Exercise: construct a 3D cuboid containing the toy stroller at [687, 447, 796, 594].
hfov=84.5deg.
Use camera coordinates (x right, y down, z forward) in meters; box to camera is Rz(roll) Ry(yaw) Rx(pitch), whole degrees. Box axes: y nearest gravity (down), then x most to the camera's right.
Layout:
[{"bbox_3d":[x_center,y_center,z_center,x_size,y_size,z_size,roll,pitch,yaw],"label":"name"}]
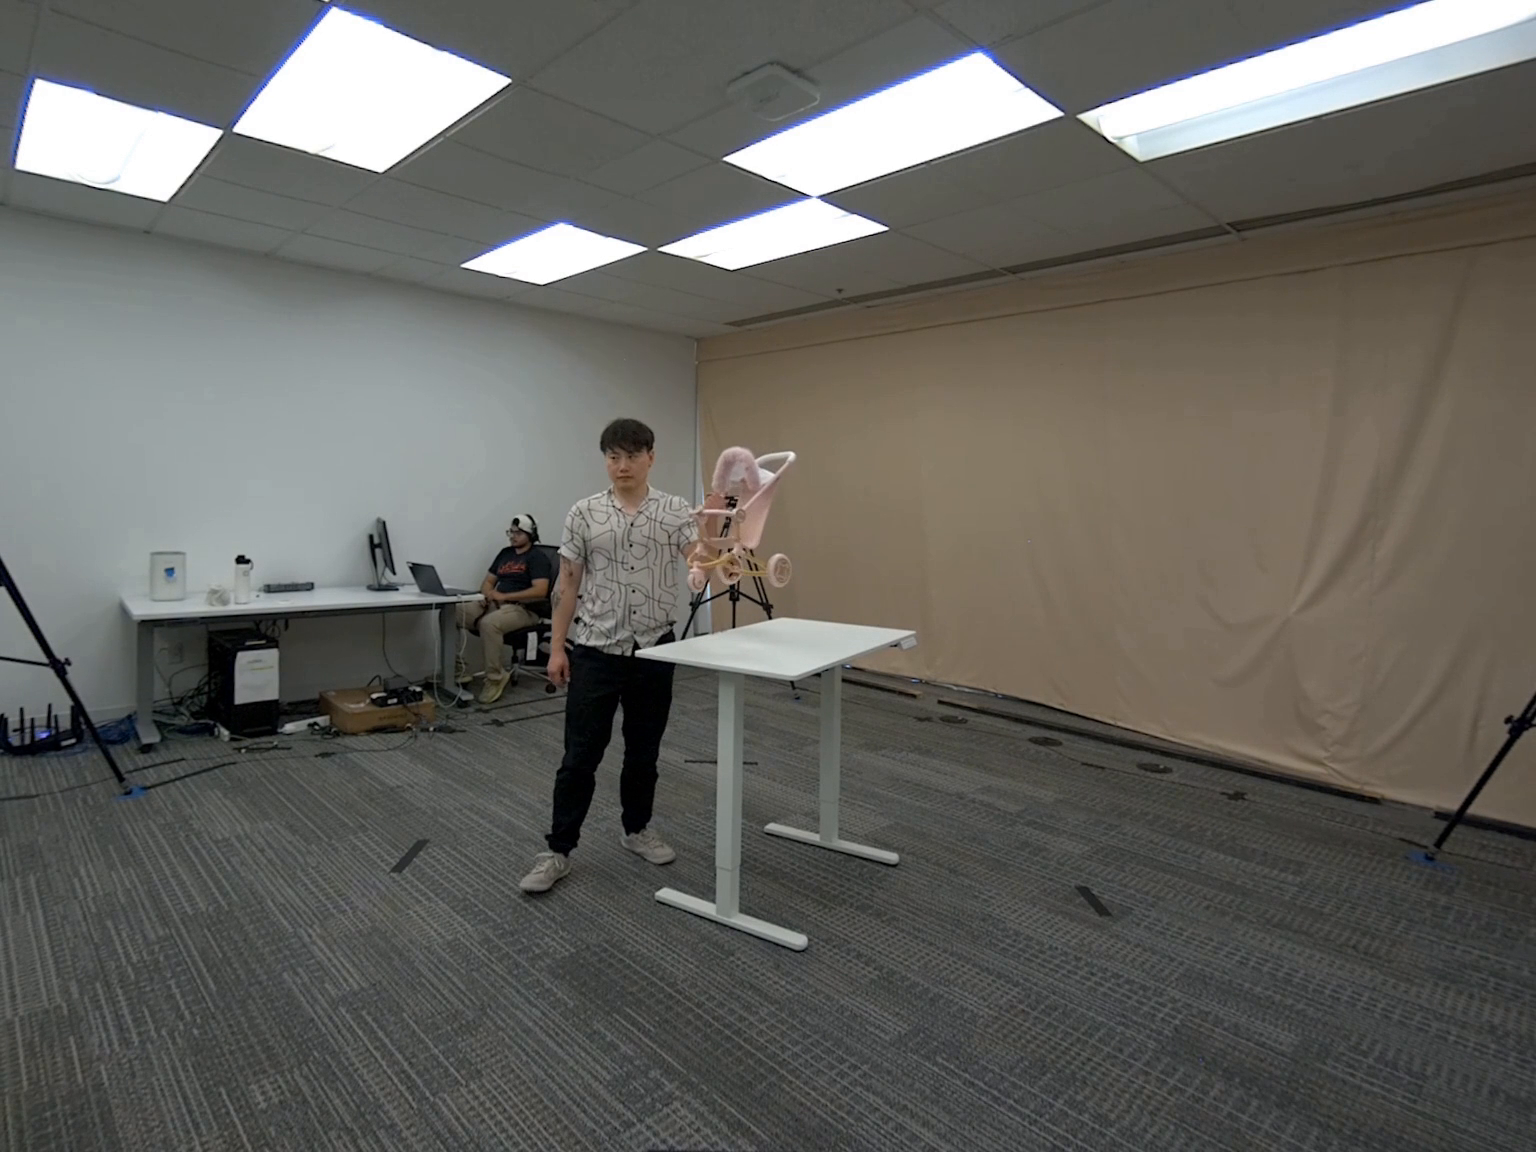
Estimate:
[{"bbox_3d":[-0.116,-0.188,2.815,0.332,0.537,0.288,12,-8,-38],"label":"toy stroller"}]
